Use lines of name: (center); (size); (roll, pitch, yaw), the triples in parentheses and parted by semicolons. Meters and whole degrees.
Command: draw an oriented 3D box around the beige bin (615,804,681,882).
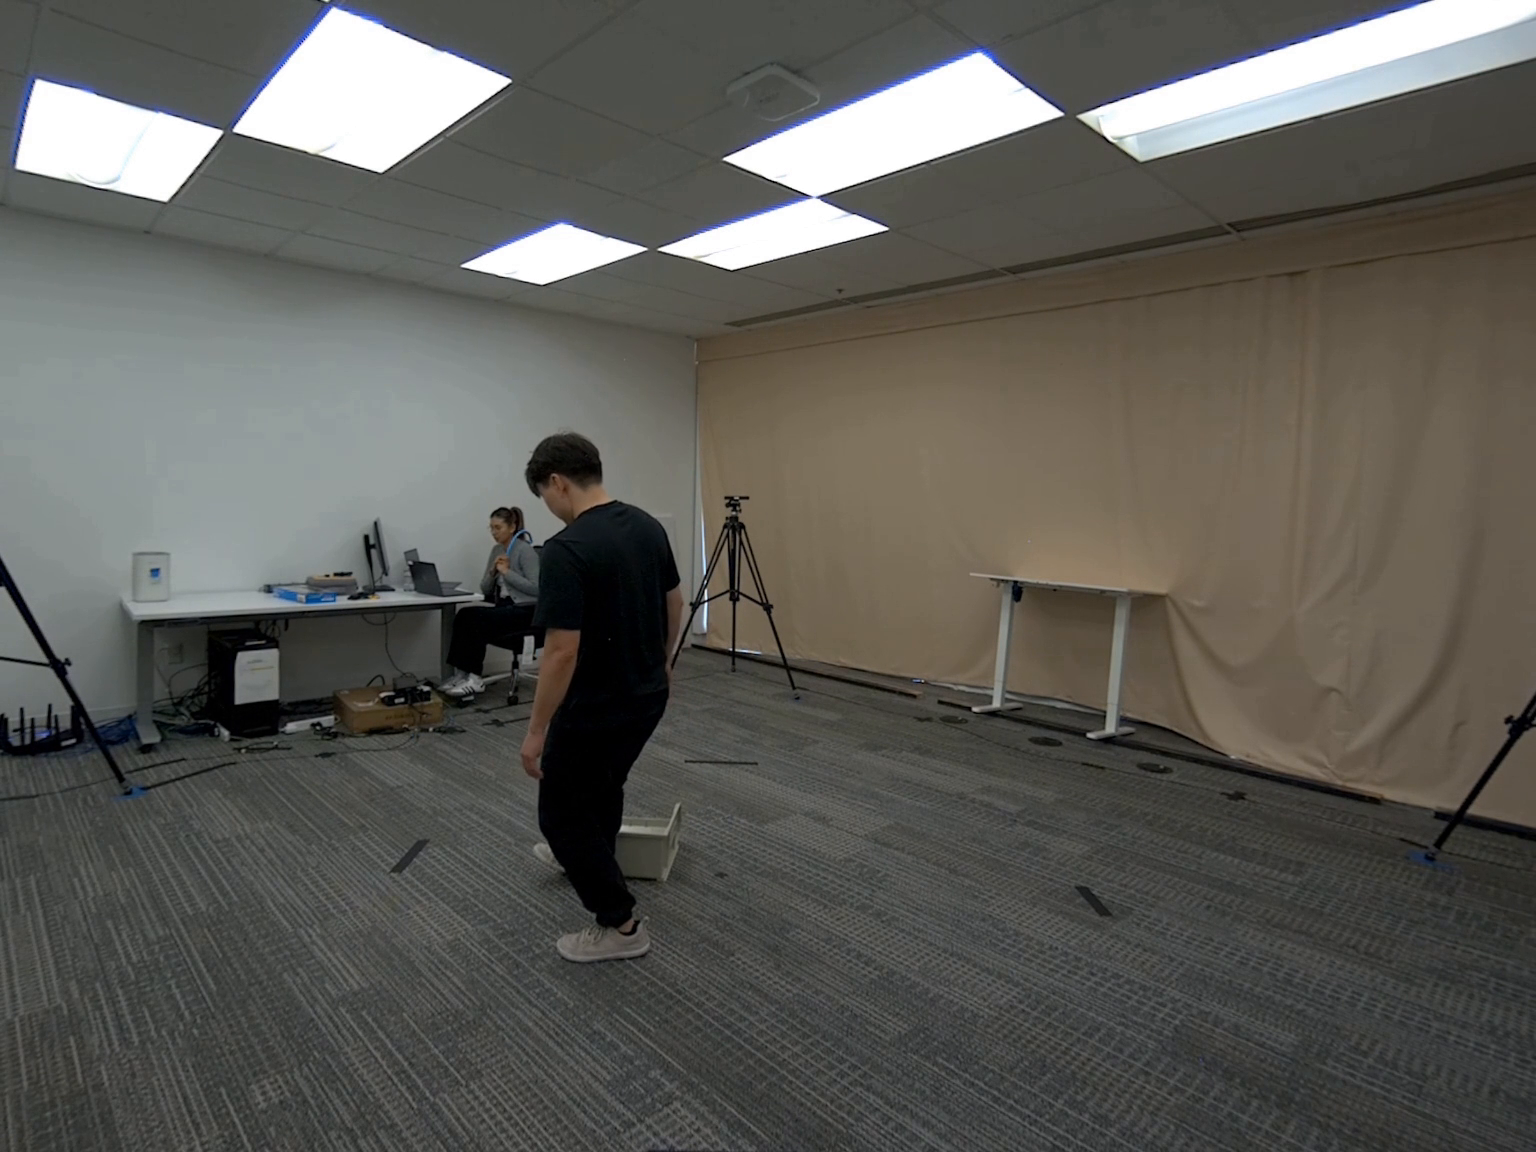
beige bin: (-0.570, 0.998, 3.224); (0.424, 0.188, 0.377); (3, 5, 4)
